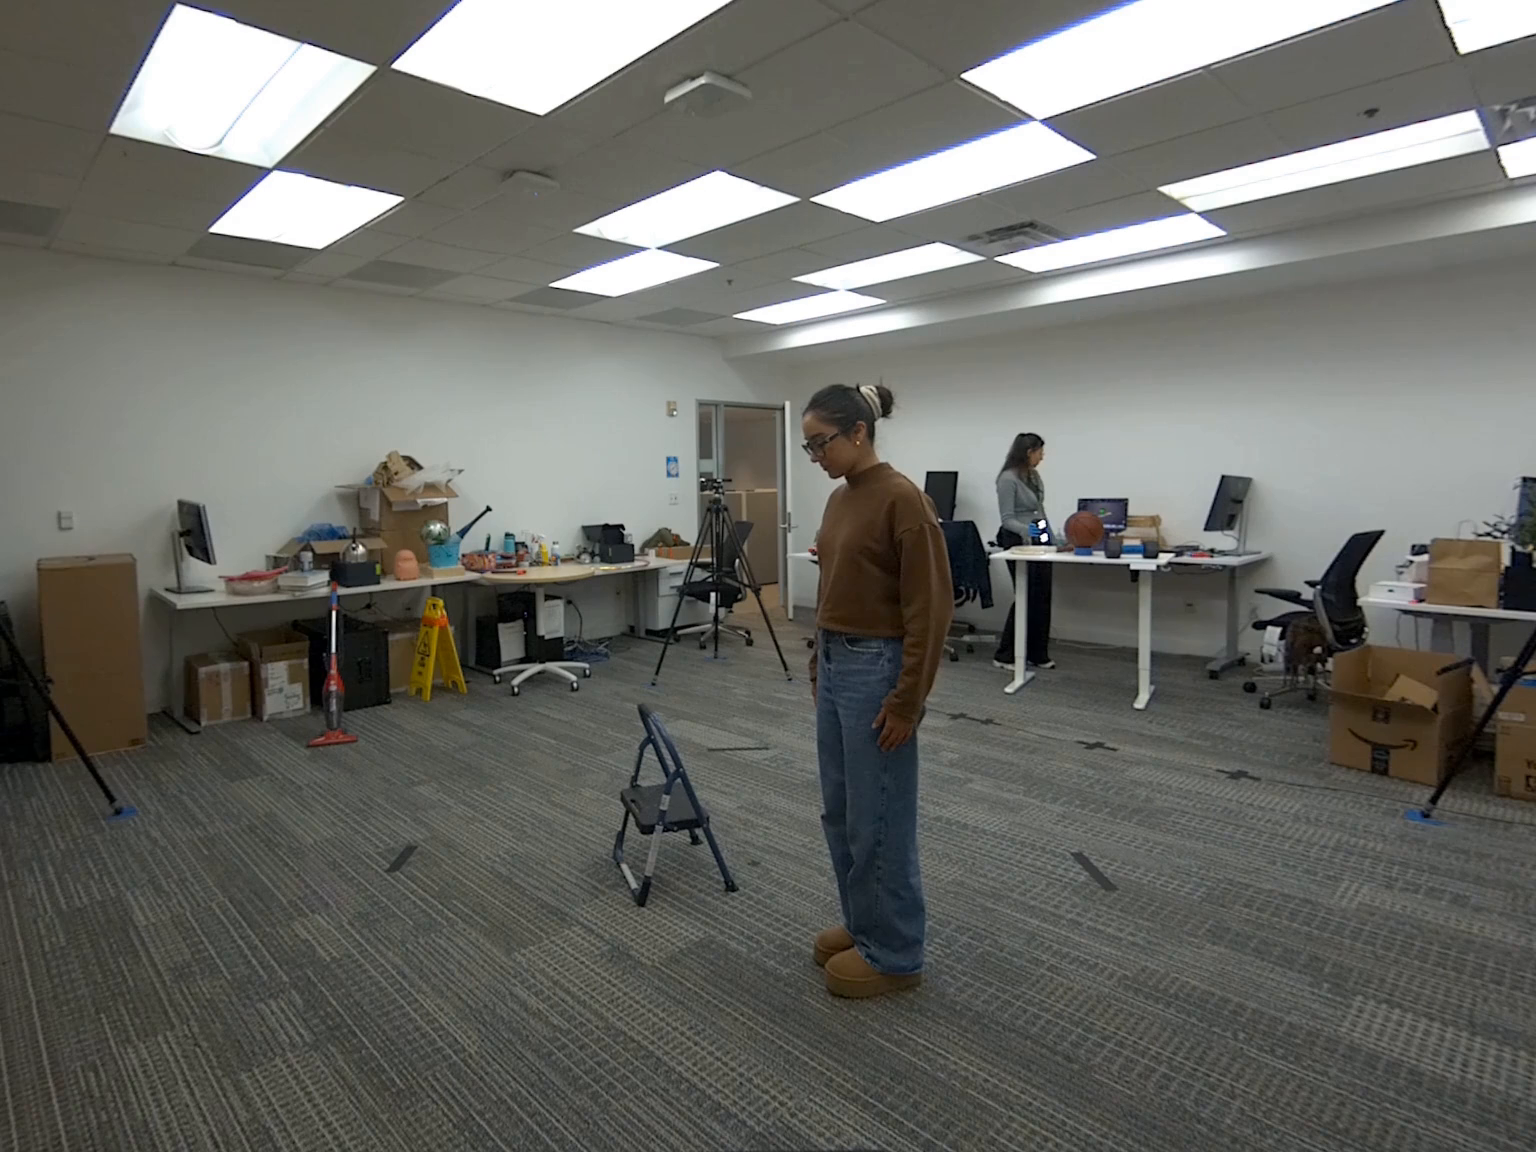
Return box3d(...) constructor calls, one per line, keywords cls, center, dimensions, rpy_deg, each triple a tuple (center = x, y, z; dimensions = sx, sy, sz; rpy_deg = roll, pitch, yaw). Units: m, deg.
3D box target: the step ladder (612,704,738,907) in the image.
box3d(cls="step ladder", center=(-0.344, 0.756, 3.029), dimensions=(0.343, 0.604, 0.440), rpy_deg=(-2, 5, -22))
